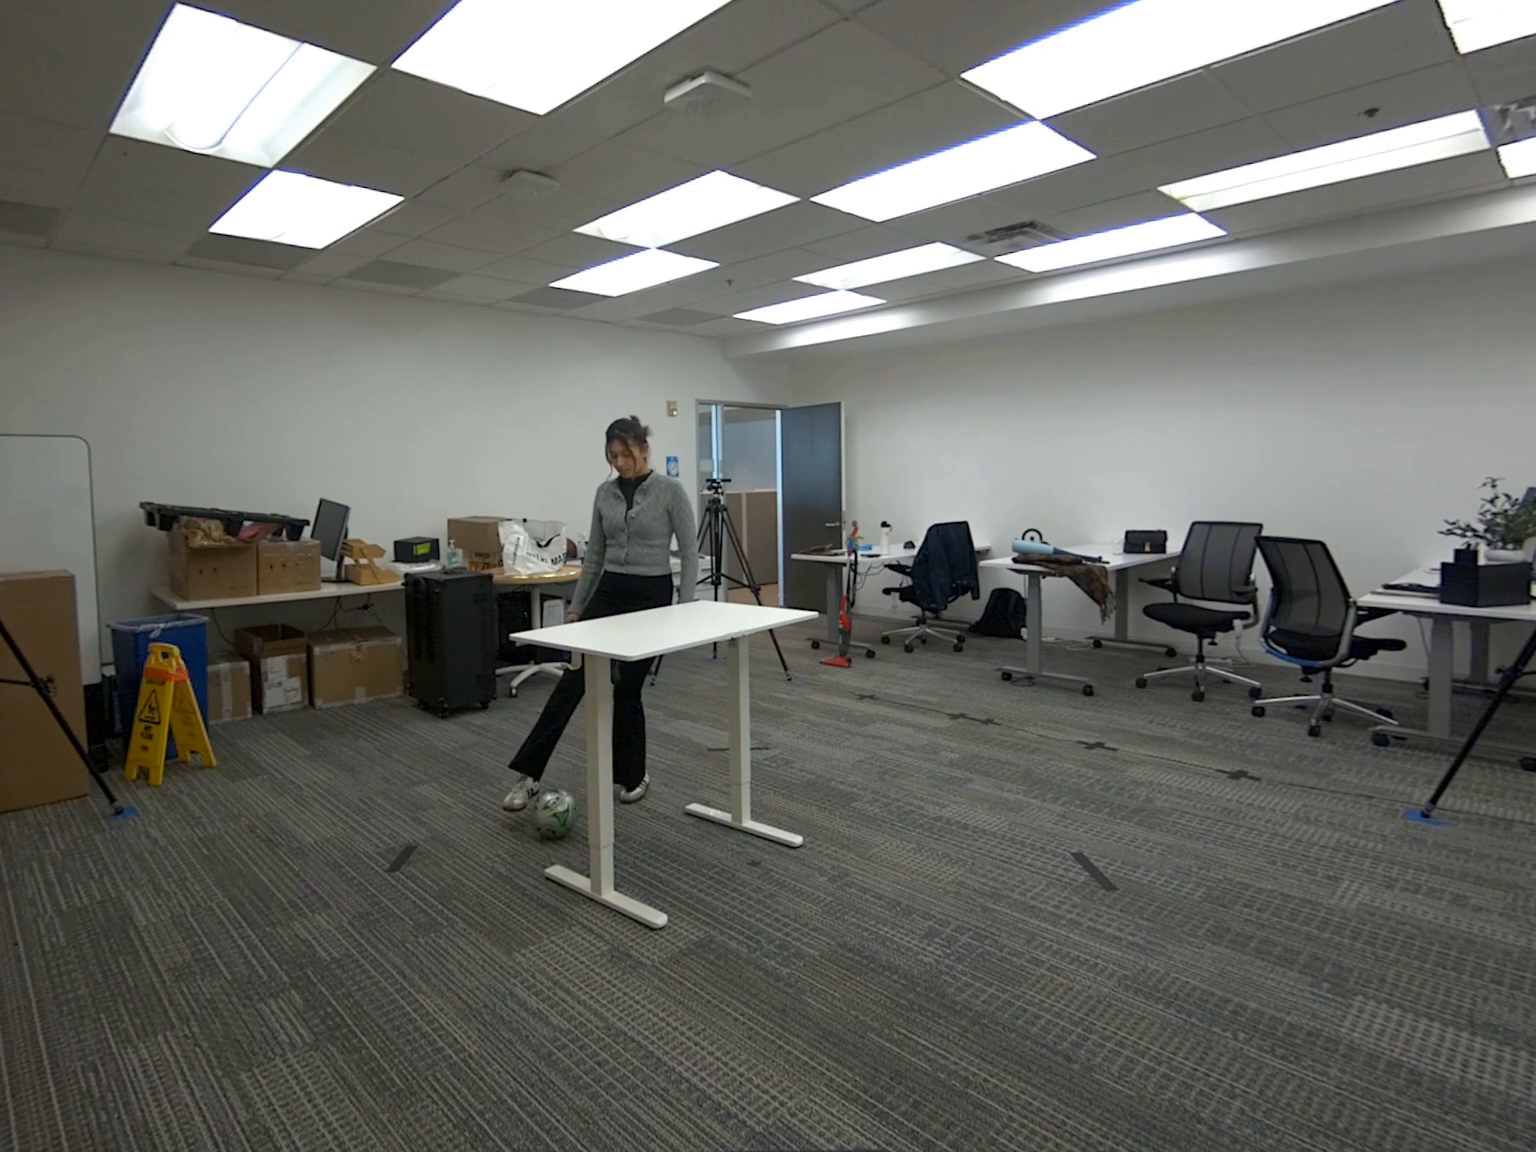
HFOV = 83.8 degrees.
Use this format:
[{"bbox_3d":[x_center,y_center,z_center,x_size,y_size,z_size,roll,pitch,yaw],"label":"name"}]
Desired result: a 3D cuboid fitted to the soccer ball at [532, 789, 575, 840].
[{"bbox_3d":[-0.837,0.937,3.370,0.187,0.187,0.188,-1,5,-2],"label":"soccer ball"}]
